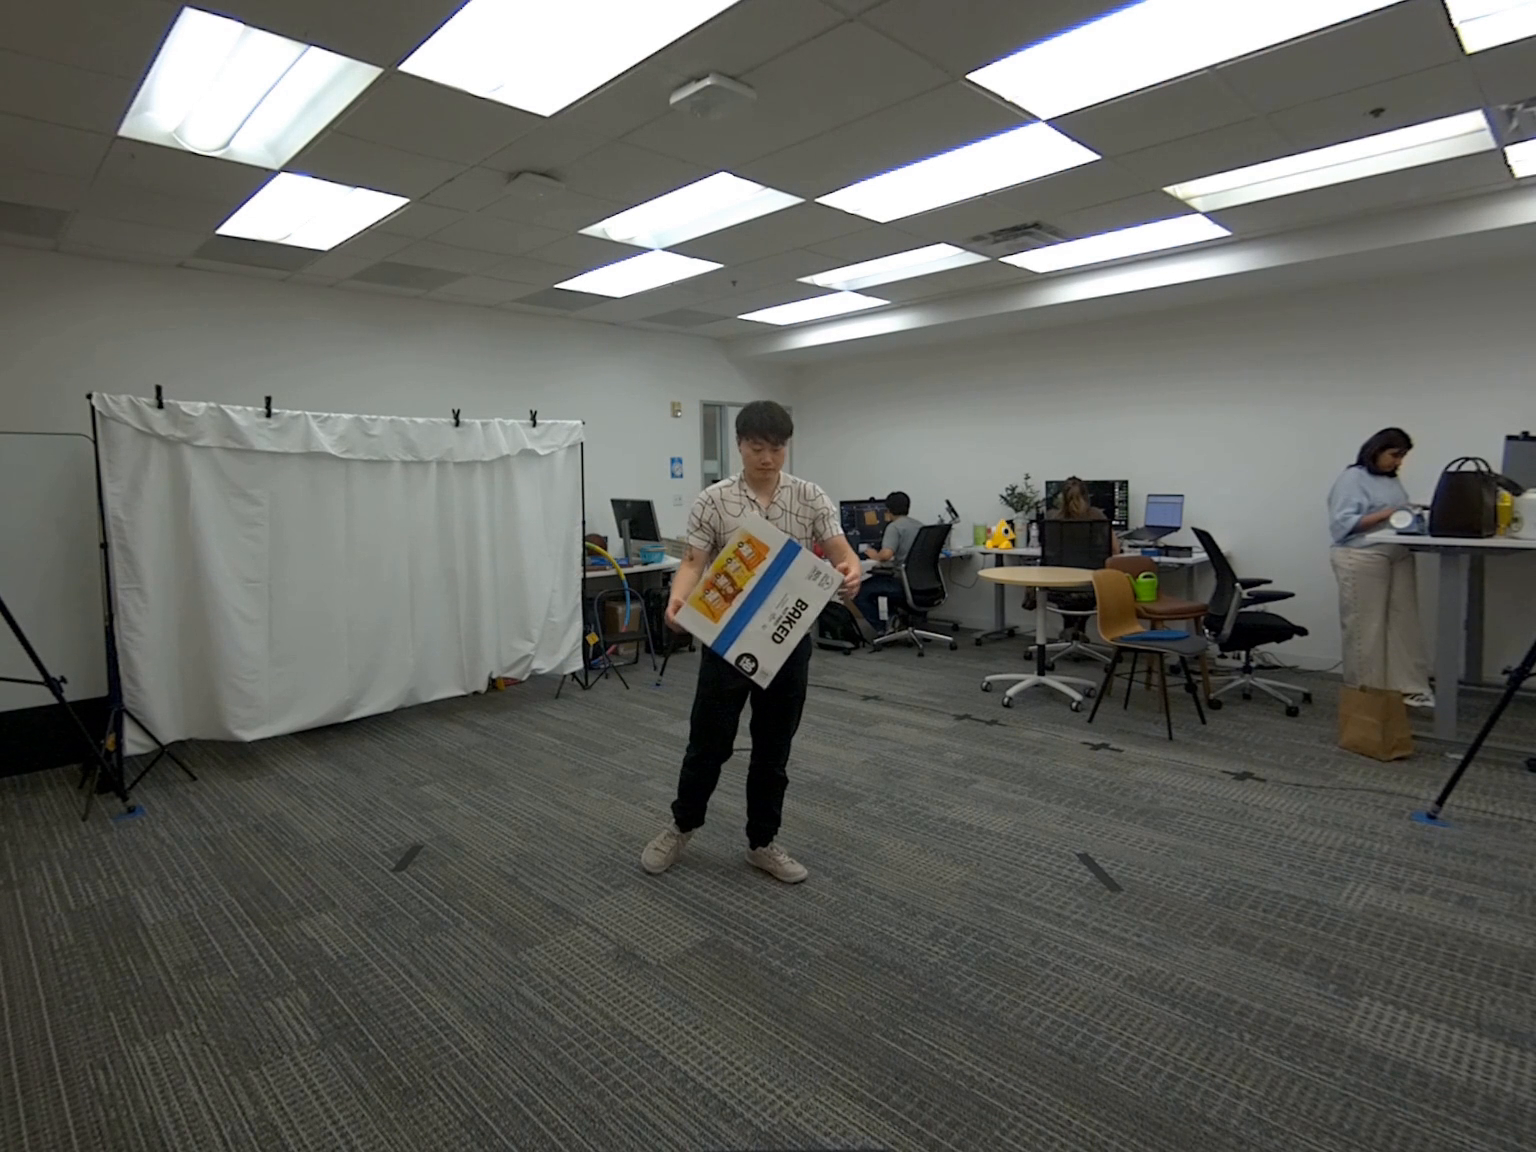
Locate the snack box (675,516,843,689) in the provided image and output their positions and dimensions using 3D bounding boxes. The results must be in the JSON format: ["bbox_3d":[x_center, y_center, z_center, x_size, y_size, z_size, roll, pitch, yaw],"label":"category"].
[{"bbox_3d":[-0.024,0.077,2.588,0.345,0.405,0.203,36,-2,10],"label":"snack box"}]
